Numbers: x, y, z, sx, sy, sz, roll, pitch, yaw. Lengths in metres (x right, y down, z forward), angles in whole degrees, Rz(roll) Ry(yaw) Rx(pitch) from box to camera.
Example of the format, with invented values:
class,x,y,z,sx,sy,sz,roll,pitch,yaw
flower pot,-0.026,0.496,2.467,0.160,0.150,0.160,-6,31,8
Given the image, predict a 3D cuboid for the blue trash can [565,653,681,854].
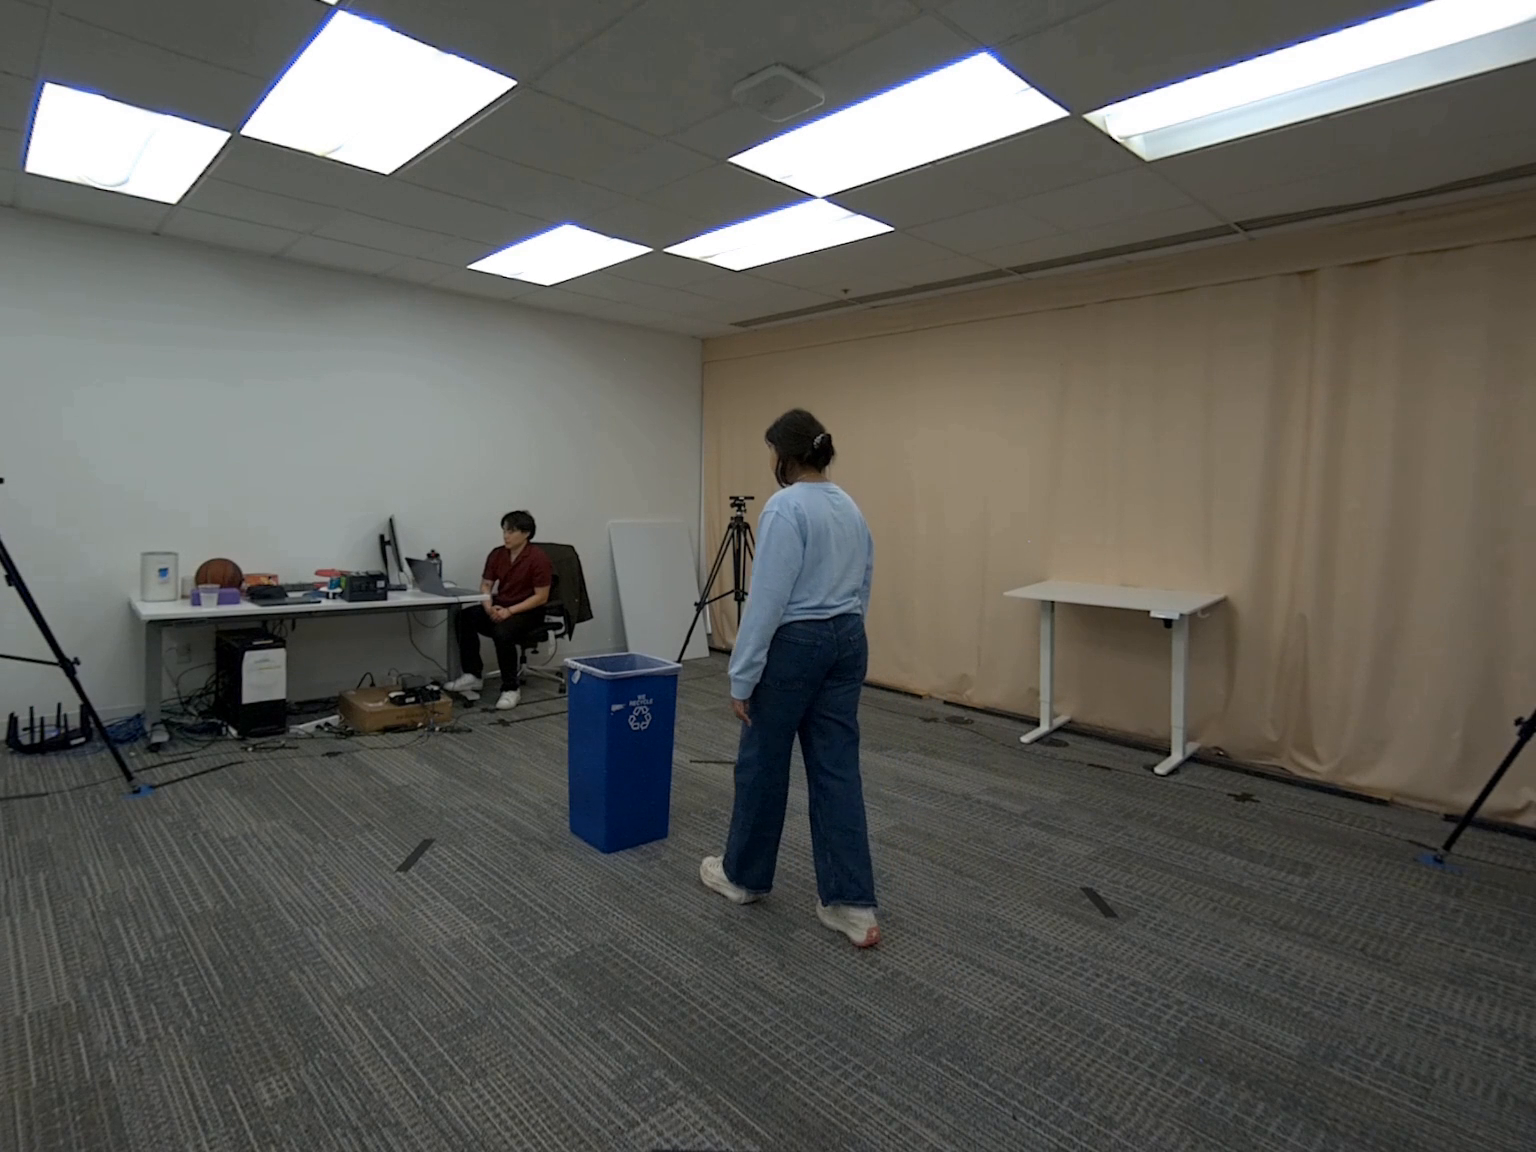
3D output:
class,x,y,z,sx,sy,sz,roll,pitch,yaw
blue trash can,-0.607,0.705,3.457,0.365,0.712,0.388,-1,4,-40
